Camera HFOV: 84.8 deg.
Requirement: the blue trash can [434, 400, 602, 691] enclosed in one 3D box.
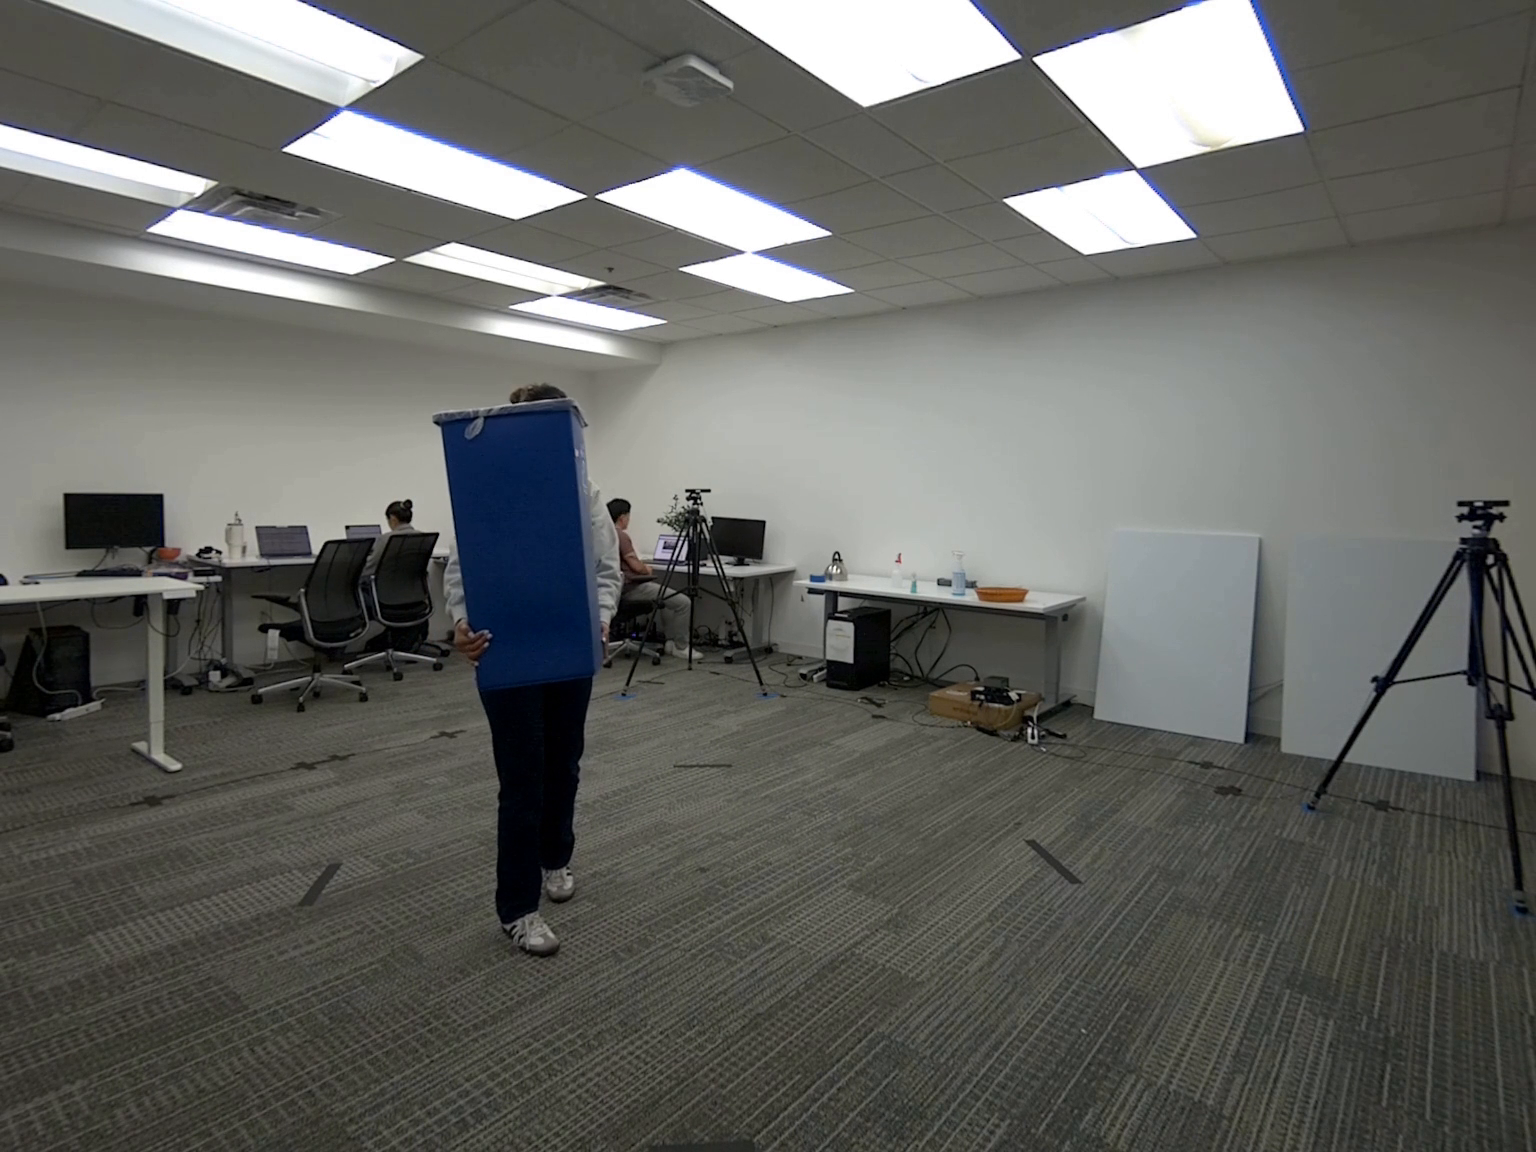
[{"bbox_3d":[-0.666,-0.086,2.327,0.377,0.714,0.375,-7,0,-3],"label":"blue trash can"}]
